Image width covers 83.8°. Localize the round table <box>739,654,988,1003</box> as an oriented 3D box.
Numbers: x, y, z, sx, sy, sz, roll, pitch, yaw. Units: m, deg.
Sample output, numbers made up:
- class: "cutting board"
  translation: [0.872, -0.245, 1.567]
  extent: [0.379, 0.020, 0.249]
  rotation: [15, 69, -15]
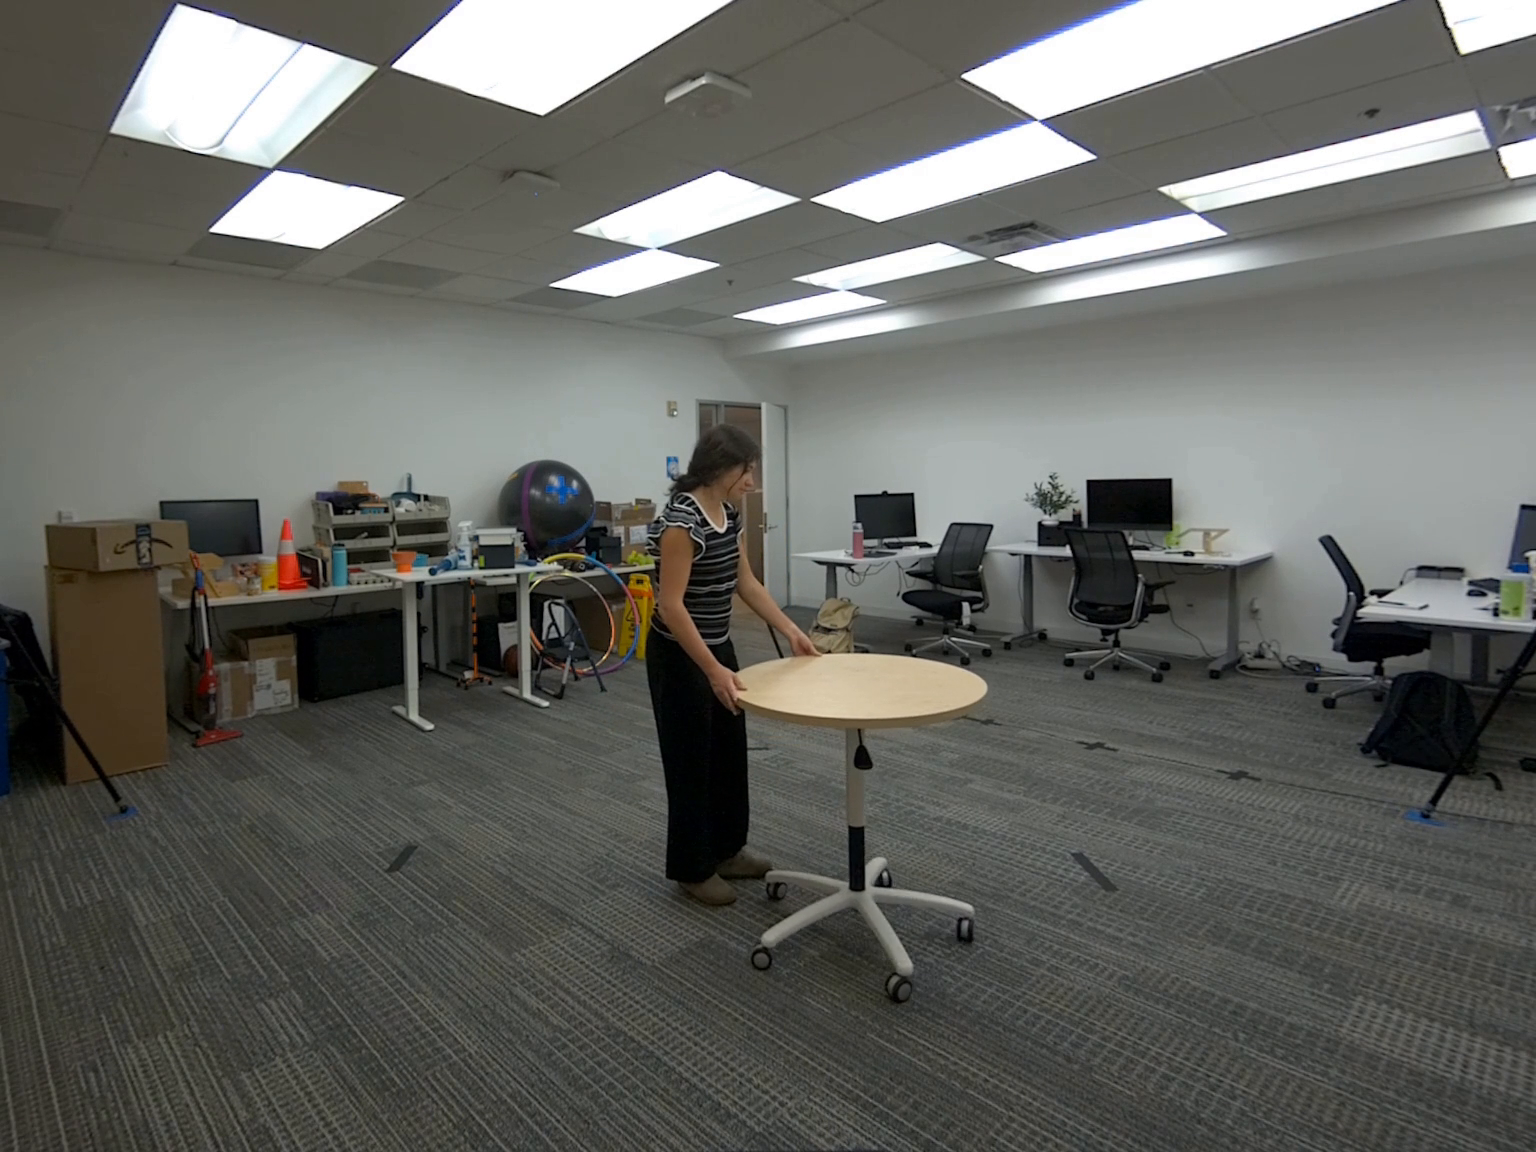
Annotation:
- class: "round table"
  translation: [0.271, 0.707, 2.575]
  extent: [0.784, 0.783, 0.789]
  rotation: [-1, 5, -2]
